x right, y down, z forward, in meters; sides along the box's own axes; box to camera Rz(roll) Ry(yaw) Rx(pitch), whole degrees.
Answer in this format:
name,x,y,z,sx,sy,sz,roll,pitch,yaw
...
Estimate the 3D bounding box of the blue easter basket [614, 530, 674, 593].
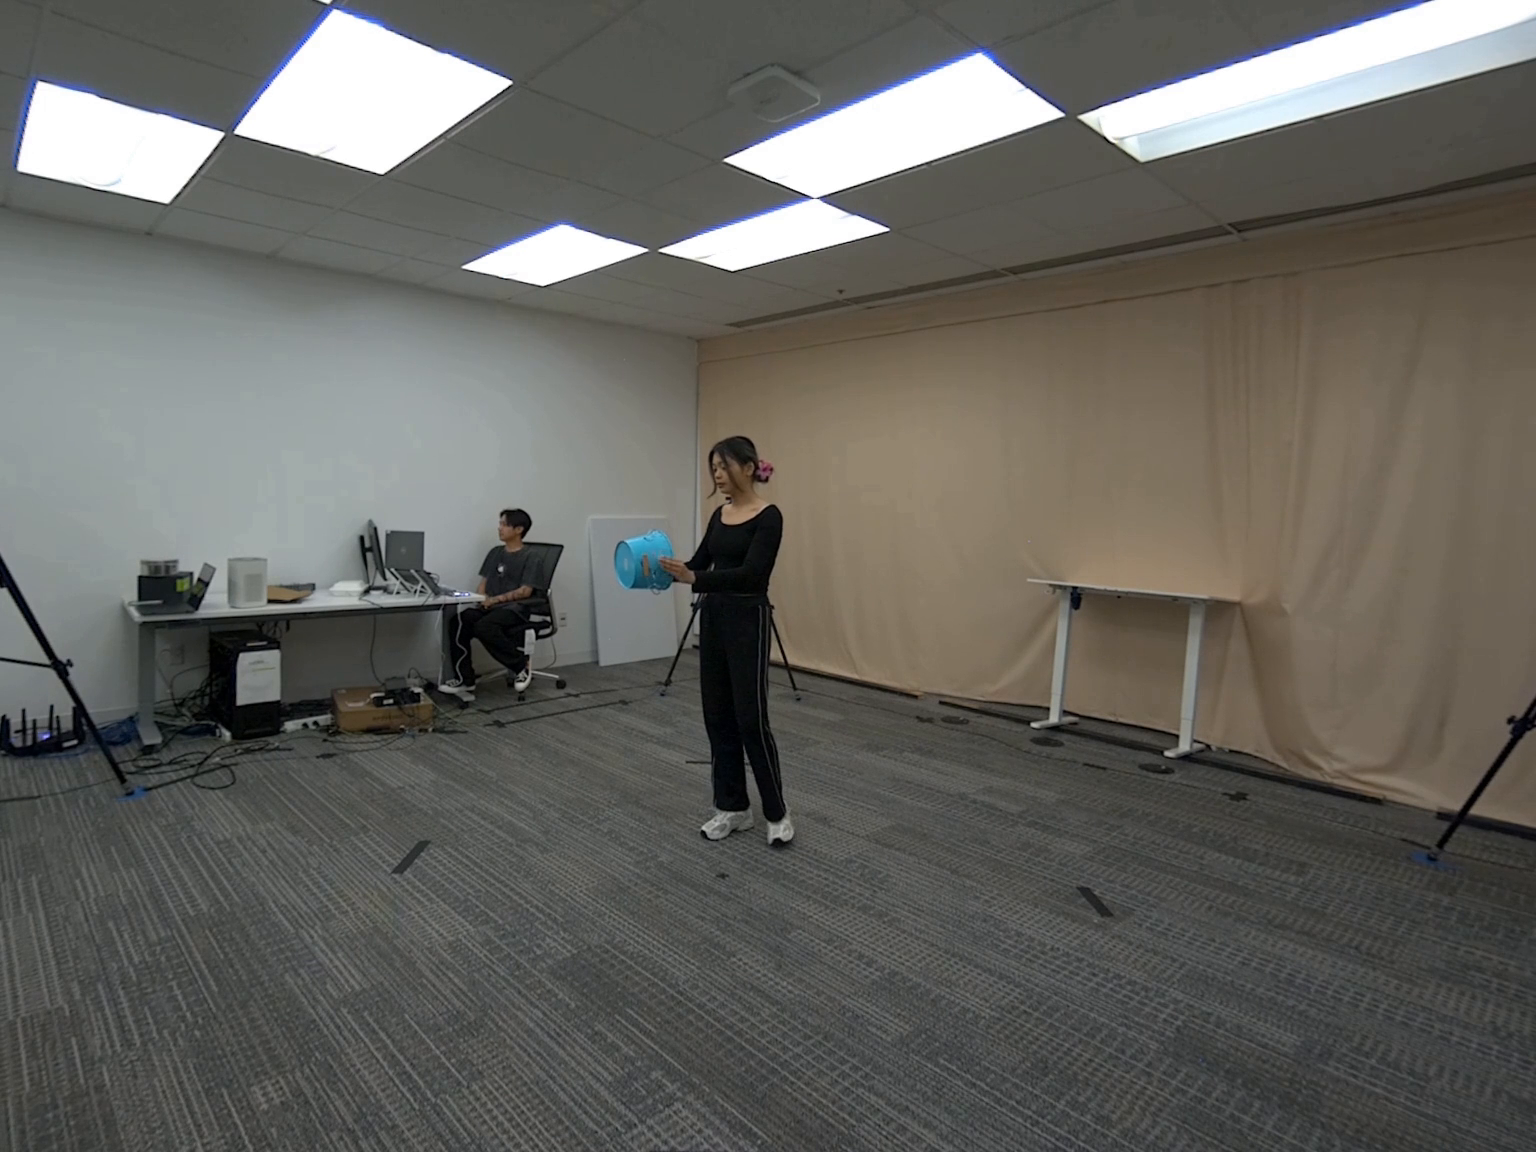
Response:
name,x,y,z,sx,sy,sz,roll,pitch,yaw
blue easter basket,-0.486,-0.049,3.189,0.153,0.242,0.249,-6,7,-33
